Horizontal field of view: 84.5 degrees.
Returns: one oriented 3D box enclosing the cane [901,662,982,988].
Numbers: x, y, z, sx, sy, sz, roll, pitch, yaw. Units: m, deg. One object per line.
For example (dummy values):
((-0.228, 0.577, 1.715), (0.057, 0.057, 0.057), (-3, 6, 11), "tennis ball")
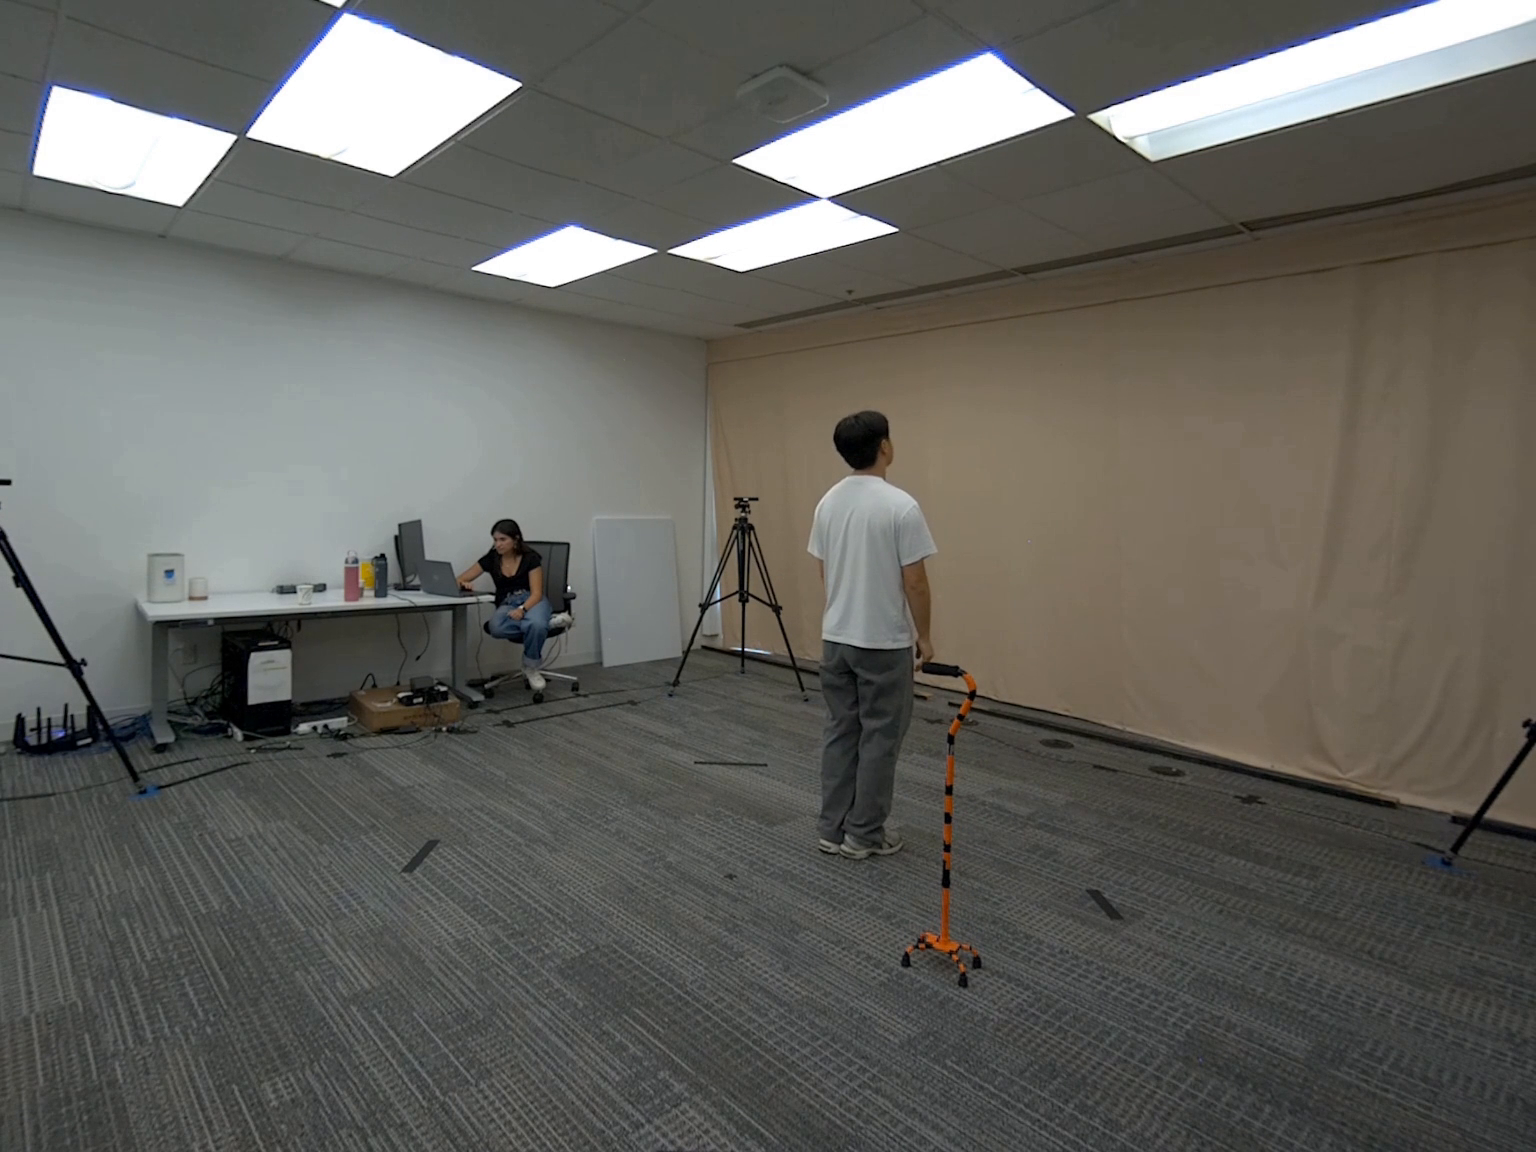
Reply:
((0.528, 0.731, 2.505), (0.211, 0.906, 0.148), (3, 4, 32), "cane")
